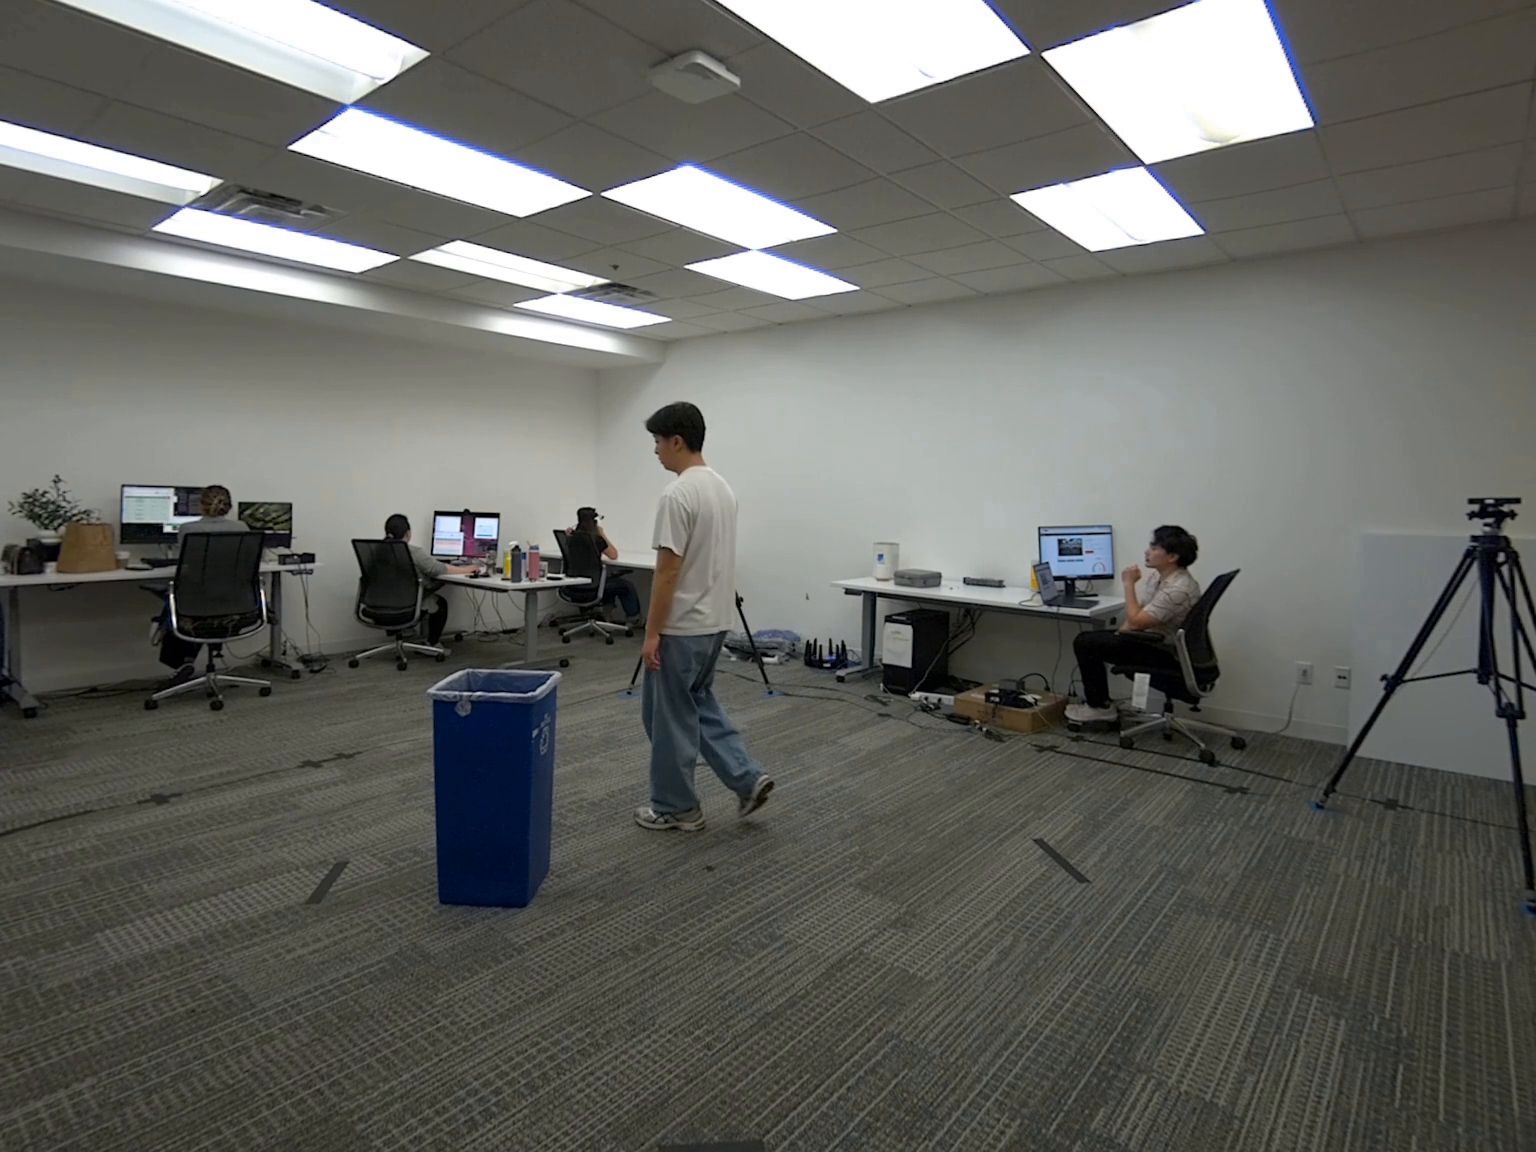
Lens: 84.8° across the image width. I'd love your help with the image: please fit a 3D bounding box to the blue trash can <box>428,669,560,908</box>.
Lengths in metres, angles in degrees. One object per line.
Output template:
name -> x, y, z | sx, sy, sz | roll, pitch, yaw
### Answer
blue trash can -> -0.950, 0.714, 2.933 | 0.379, 0.711, 0.374 | 1, 4, 2
